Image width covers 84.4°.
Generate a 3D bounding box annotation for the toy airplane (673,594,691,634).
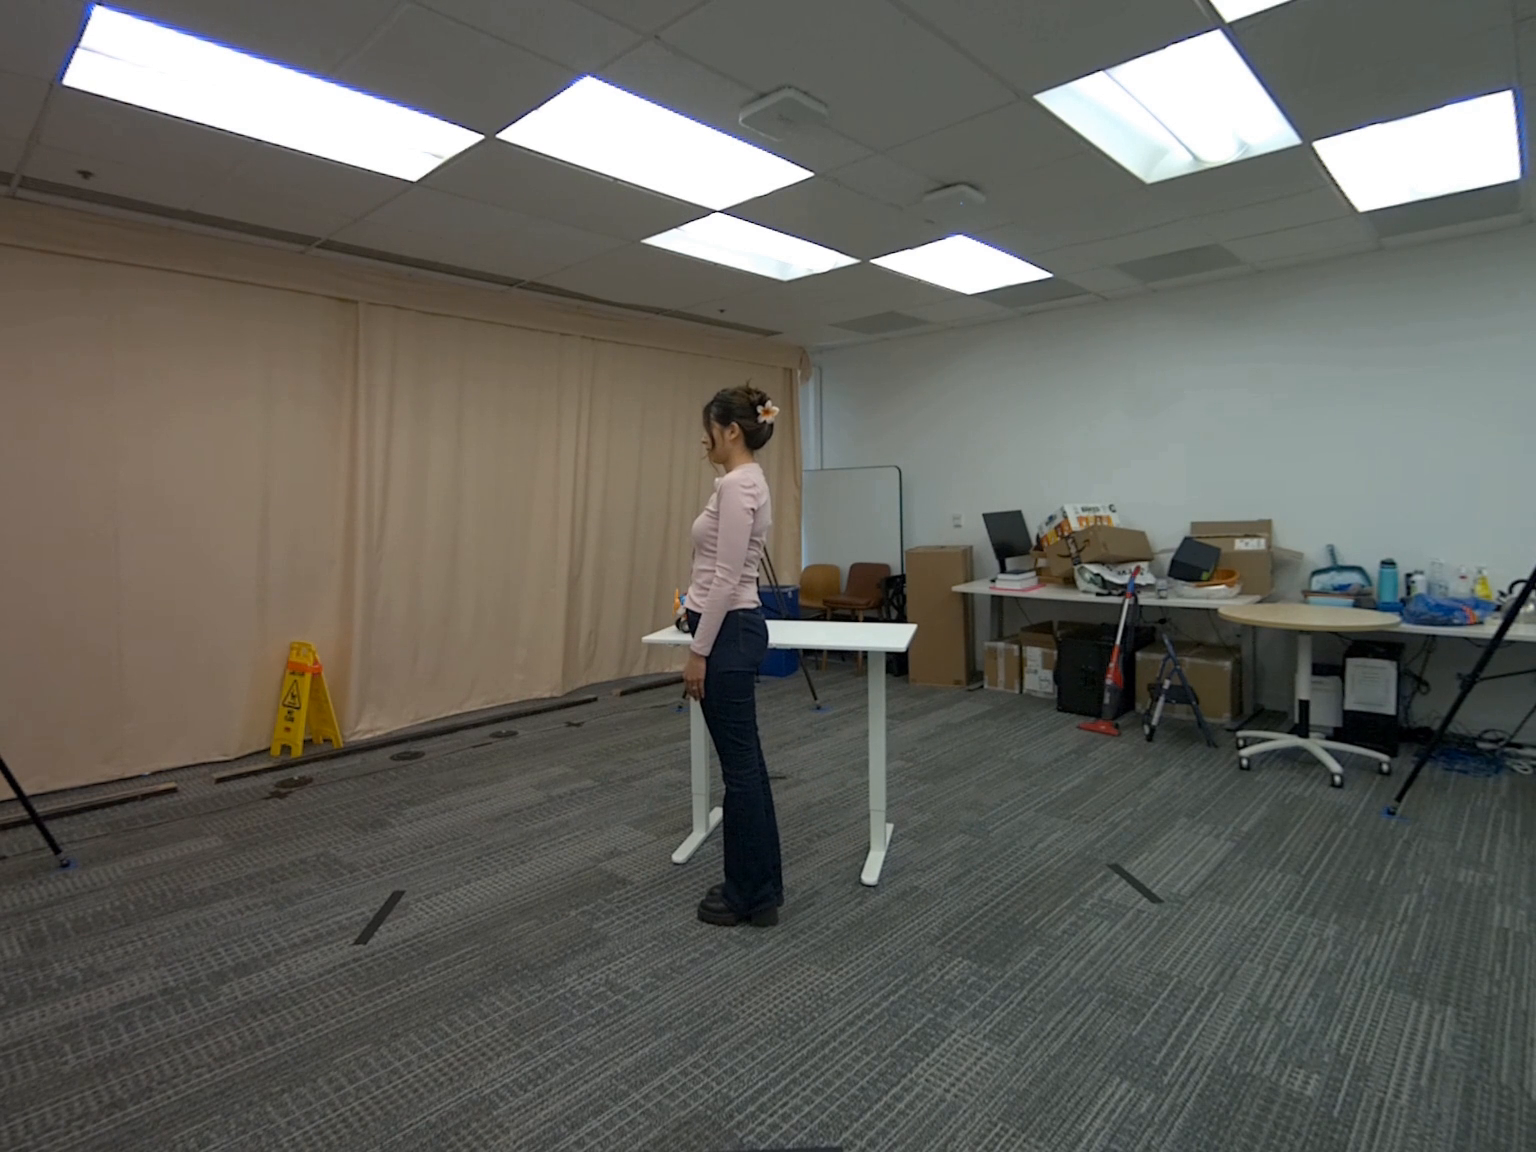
[{"bbox_3d":[-0.268,0.144,3.459,0.251,0.156,0.259,-8,6,-43],"label":"toy airplane"}]
